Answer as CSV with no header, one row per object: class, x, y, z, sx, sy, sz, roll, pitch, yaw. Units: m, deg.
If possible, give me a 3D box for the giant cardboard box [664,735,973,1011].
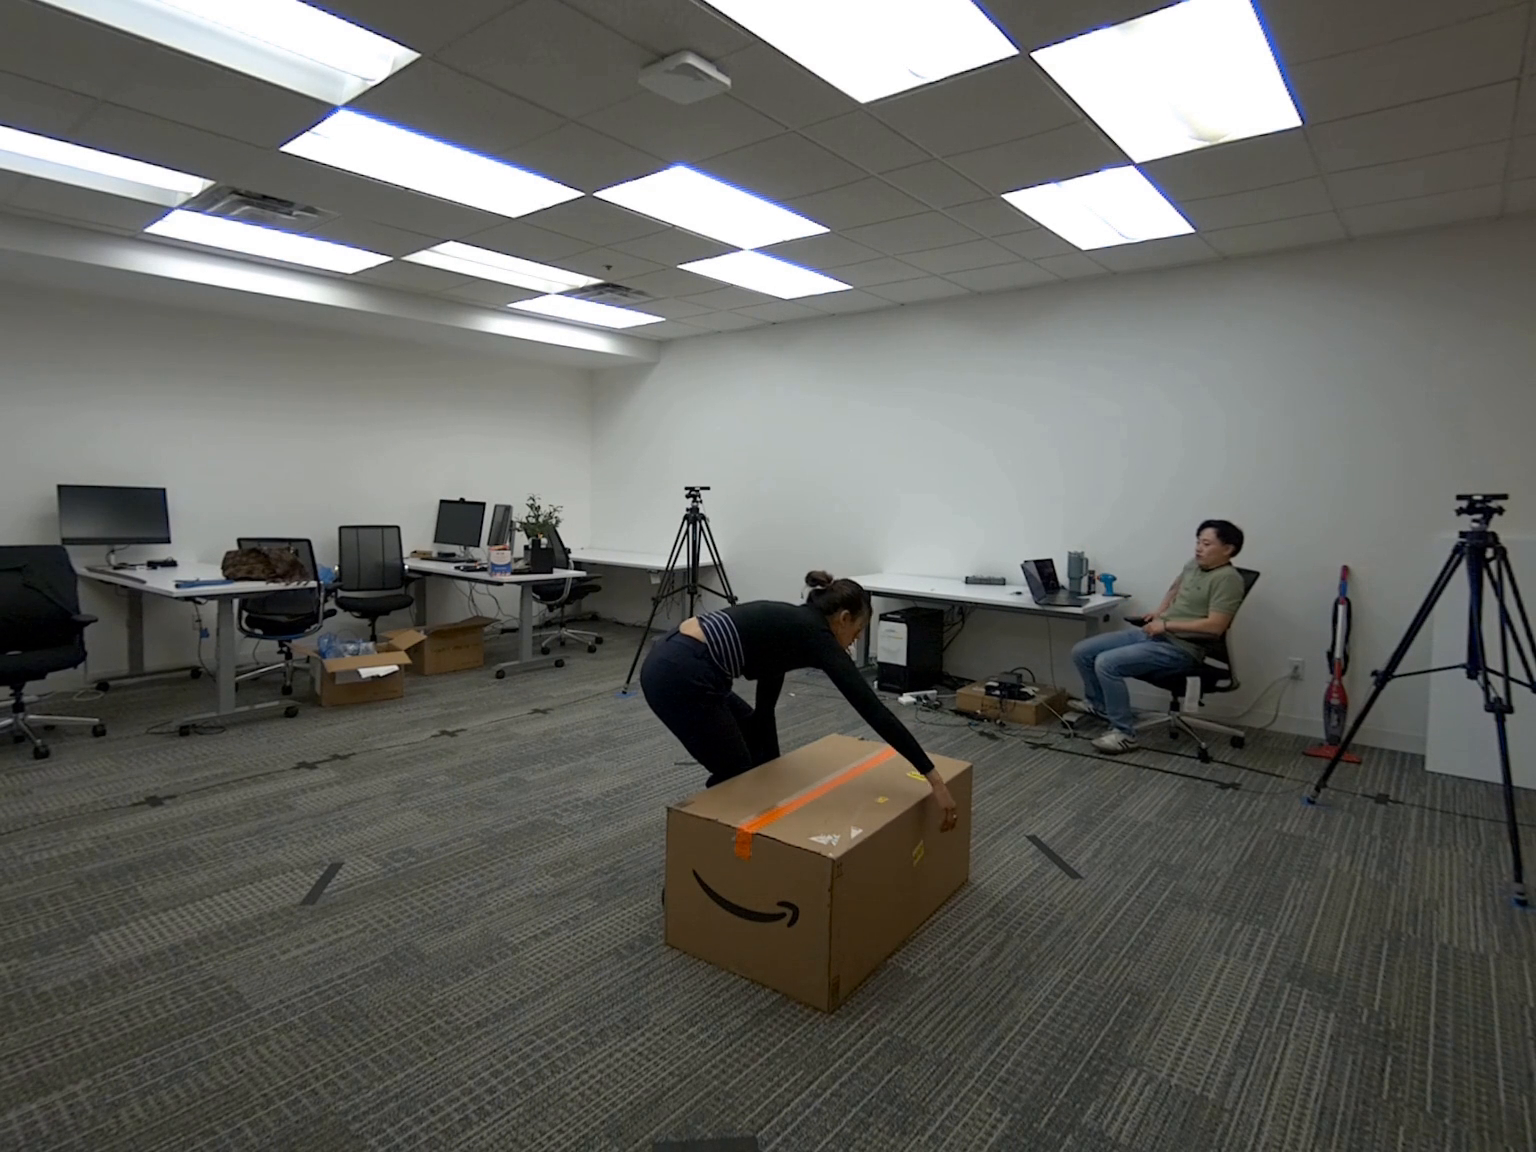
giant cardboard box,0.200,0.887,2.810,0.596,0.424,0.997,5,7,35
